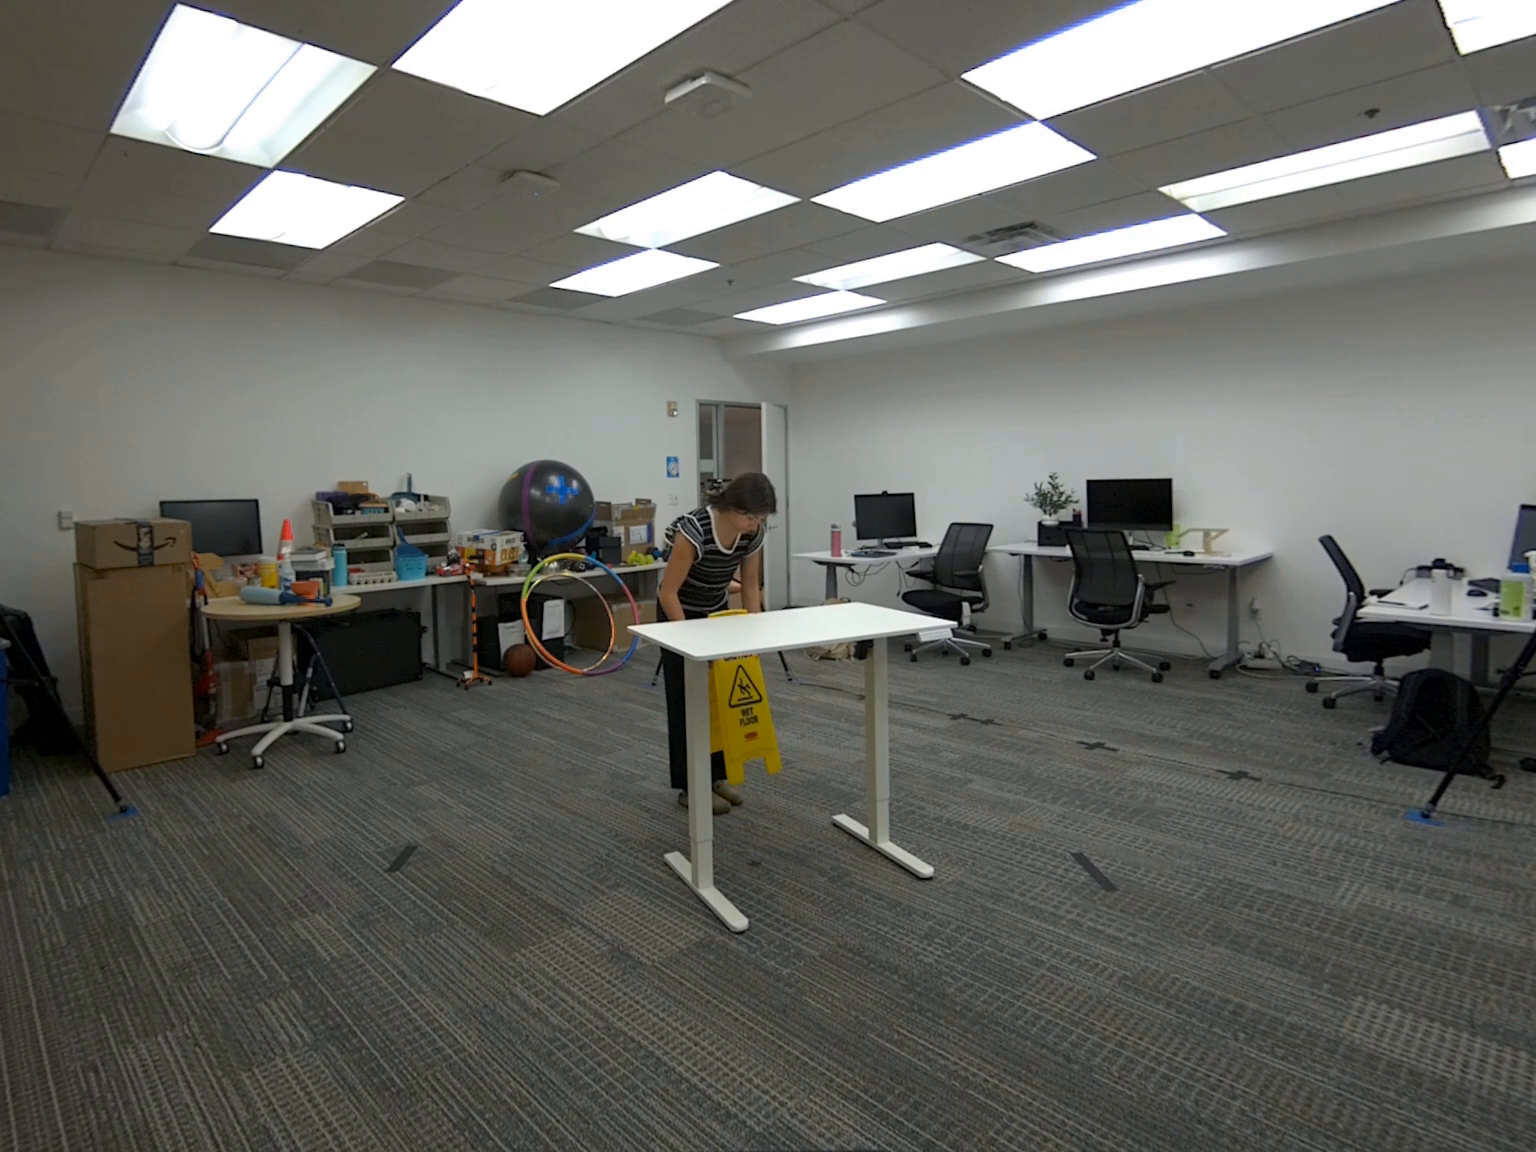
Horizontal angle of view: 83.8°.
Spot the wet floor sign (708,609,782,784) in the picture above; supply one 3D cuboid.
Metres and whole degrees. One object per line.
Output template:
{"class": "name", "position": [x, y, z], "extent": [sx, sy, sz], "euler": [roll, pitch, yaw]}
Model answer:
{"class": "wet floor sign", "position": [-0.144, 0.474, 3.448], "extent": [0.275, 0.645, 0.298], "euler": [-4, 2, -41]}
